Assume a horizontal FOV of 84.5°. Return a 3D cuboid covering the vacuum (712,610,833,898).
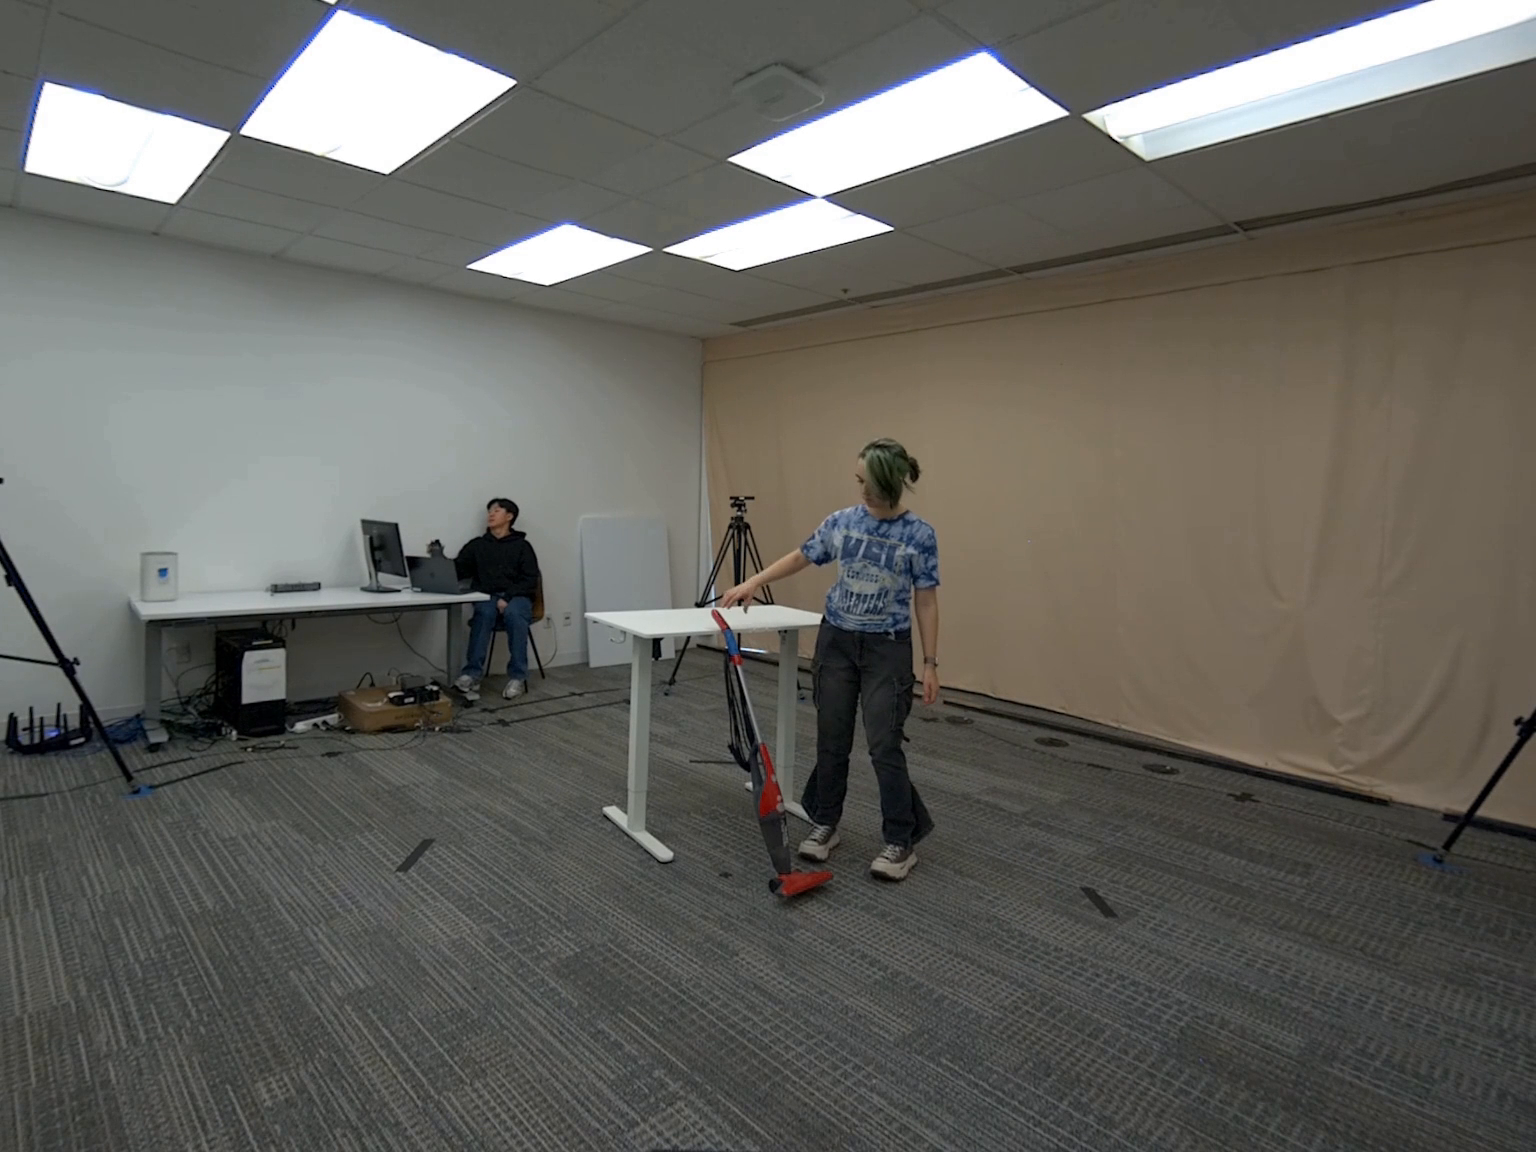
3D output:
[{"bbox_3d":[-0.064,0.627,3.124,0.246,1.066,0.145,1,-25,-47],"label":"vacuum"}]
